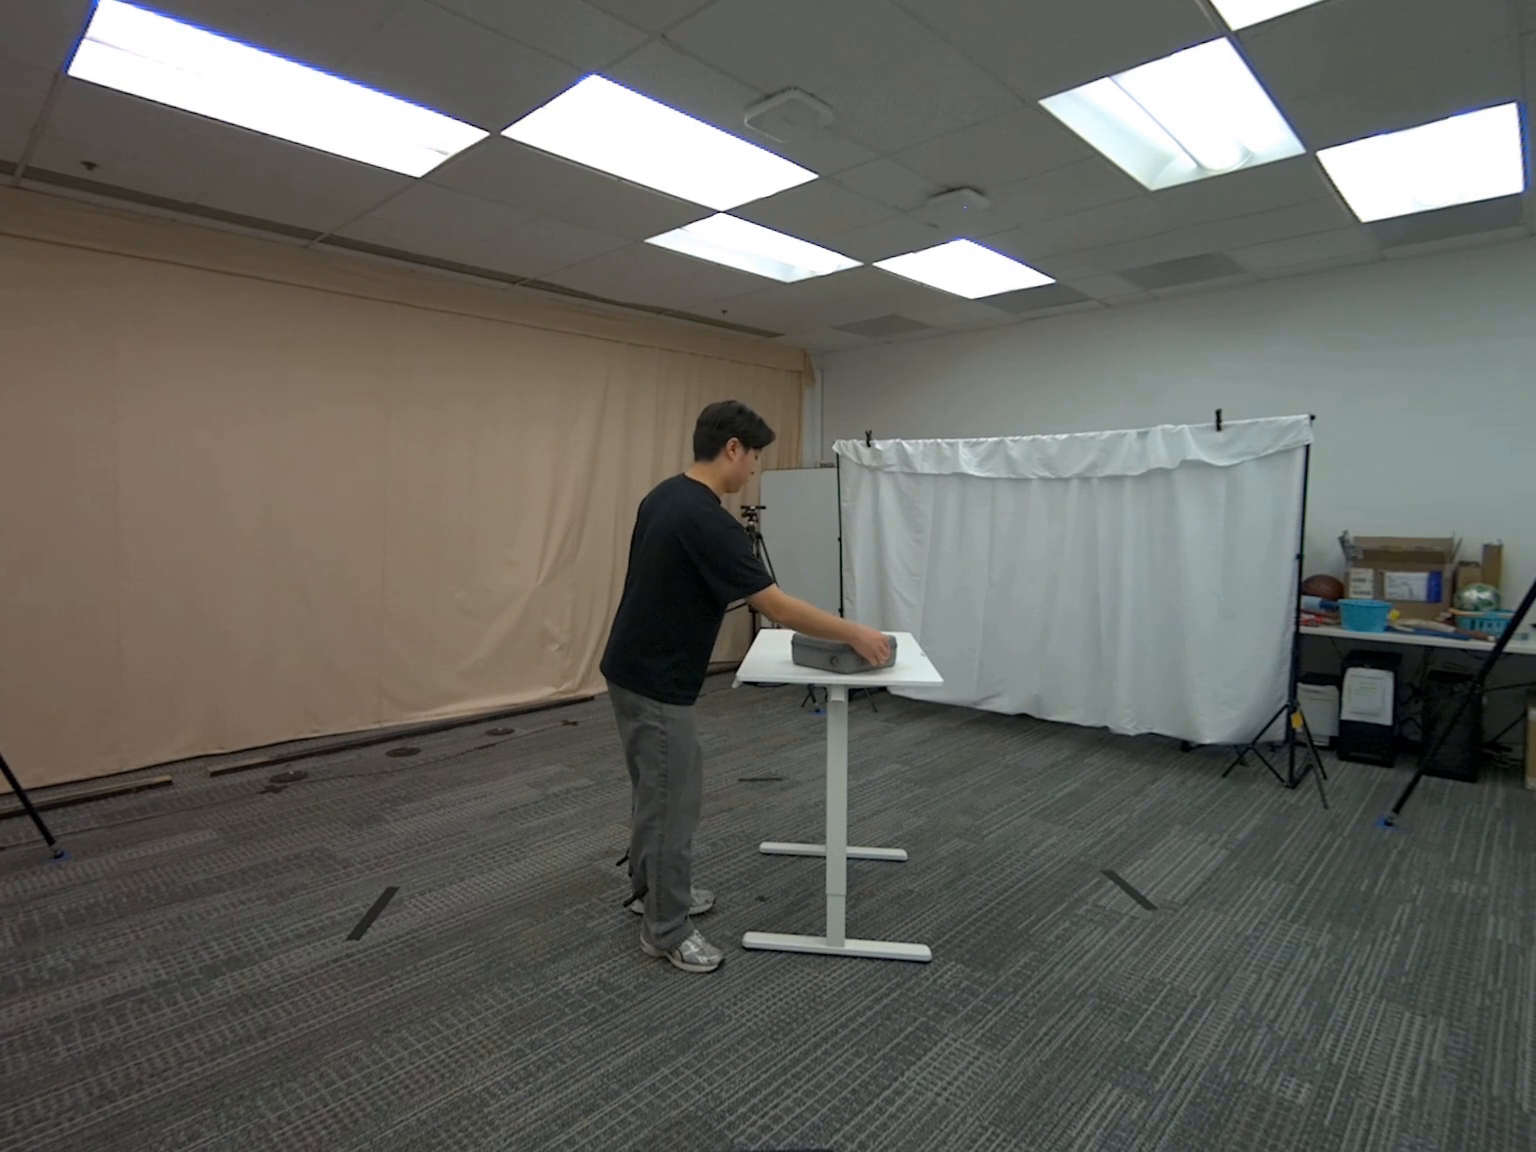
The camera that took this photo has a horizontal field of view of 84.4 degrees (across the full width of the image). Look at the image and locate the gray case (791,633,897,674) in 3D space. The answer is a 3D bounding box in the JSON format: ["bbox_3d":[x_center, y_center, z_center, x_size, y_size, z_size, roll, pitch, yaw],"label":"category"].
[{"bbox_3d":[0.256,0.233,2.658,0.255,0.103,0.297,-2,5,-40],"label":"gray case"}]
